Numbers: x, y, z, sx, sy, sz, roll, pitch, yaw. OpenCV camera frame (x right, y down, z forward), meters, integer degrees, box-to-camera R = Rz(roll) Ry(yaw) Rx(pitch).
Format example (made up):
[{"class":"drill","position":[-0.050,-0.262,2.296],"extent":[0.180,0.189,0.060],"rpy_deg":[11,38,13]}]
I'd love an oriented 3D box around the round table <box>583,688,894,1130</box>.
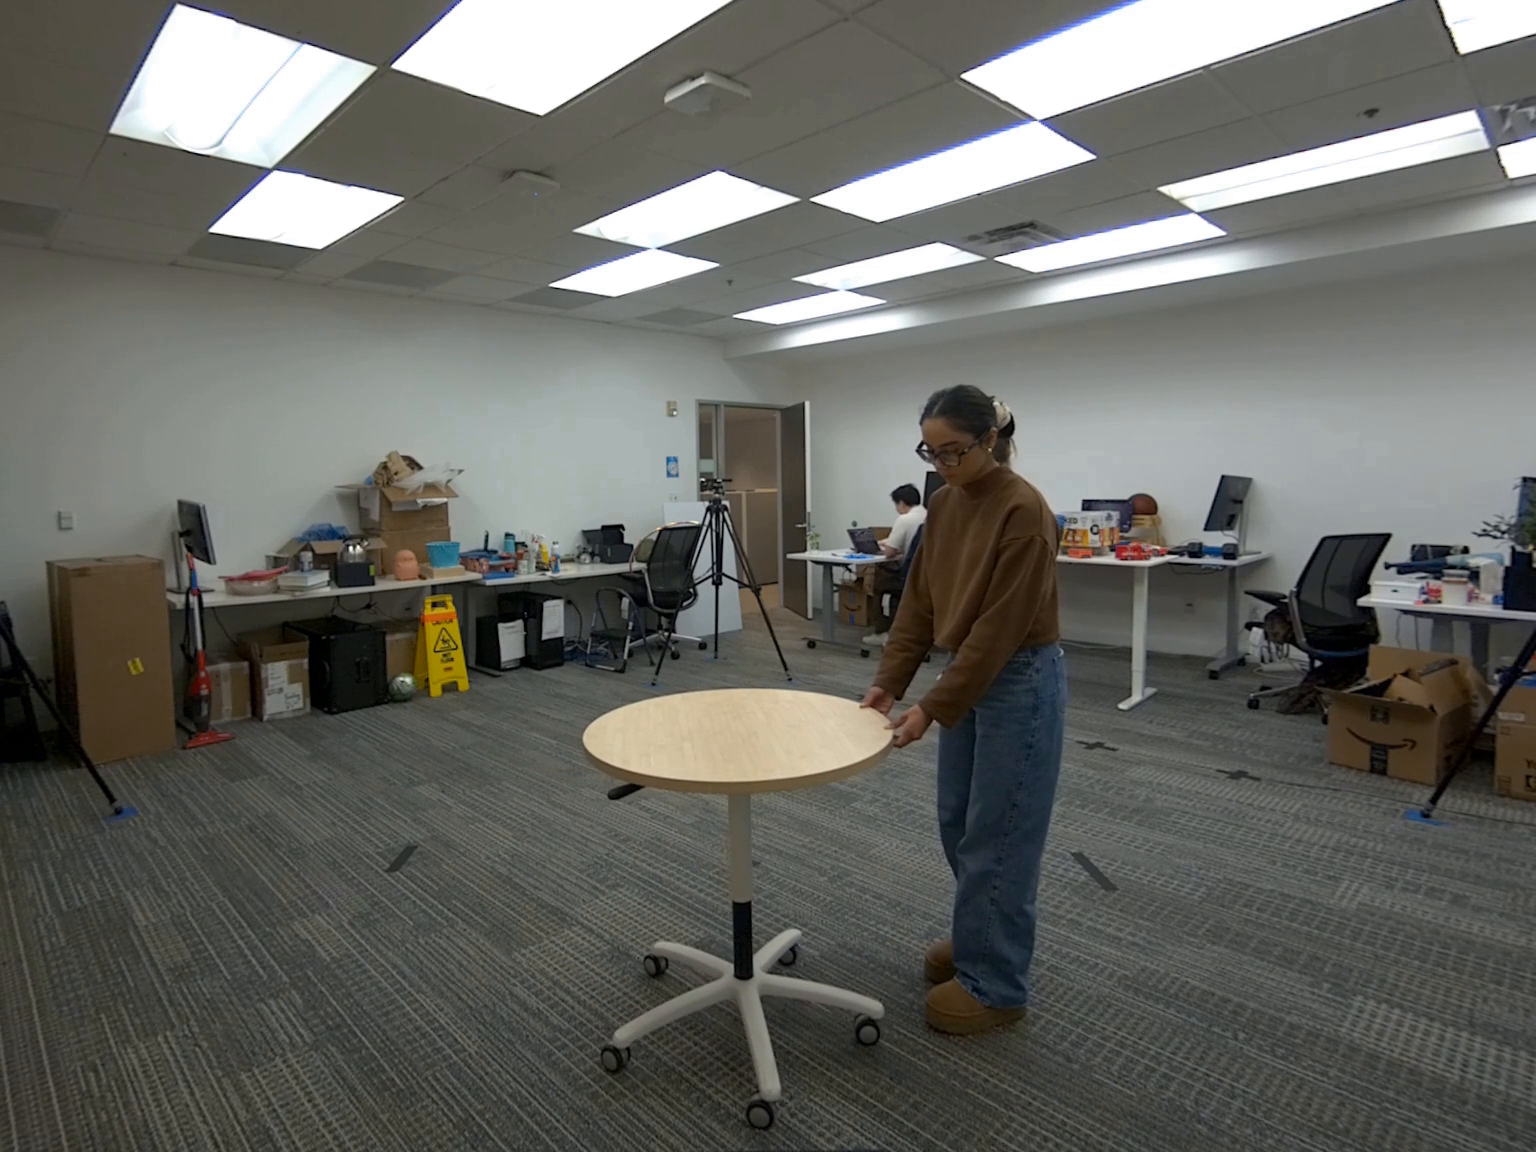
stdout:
[{"class":"round table","position":[-0.060,0.768,2.162],"extent":[0.763,0.791,0.768],"rpy_deg":[-2,5,-2]}]
